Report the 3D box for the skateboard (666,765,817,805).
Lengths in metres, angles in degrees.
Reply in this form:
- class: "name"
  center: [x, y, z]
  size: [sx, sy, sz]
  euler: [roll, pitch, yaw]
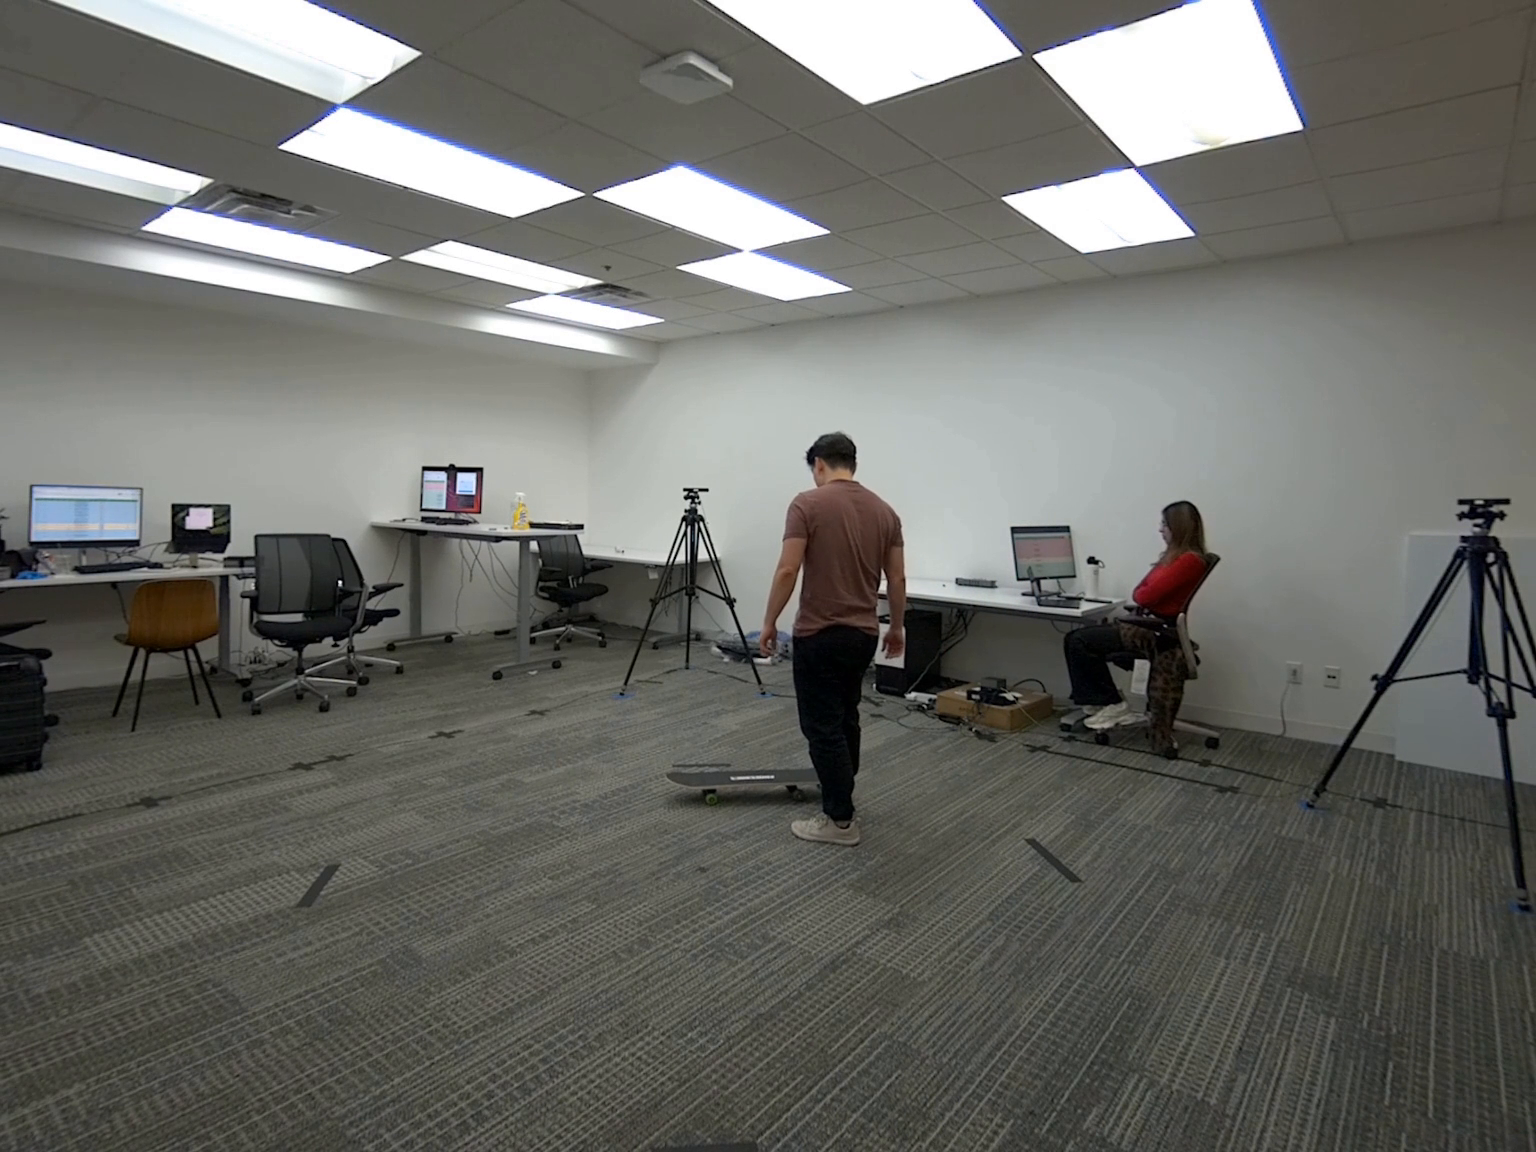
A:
- class: "skateboard"
  center: [-0.086, 0.940, 3.857]
  size: [0.778, 0.110, 0.196]
  euler: [0, 7, -8]
